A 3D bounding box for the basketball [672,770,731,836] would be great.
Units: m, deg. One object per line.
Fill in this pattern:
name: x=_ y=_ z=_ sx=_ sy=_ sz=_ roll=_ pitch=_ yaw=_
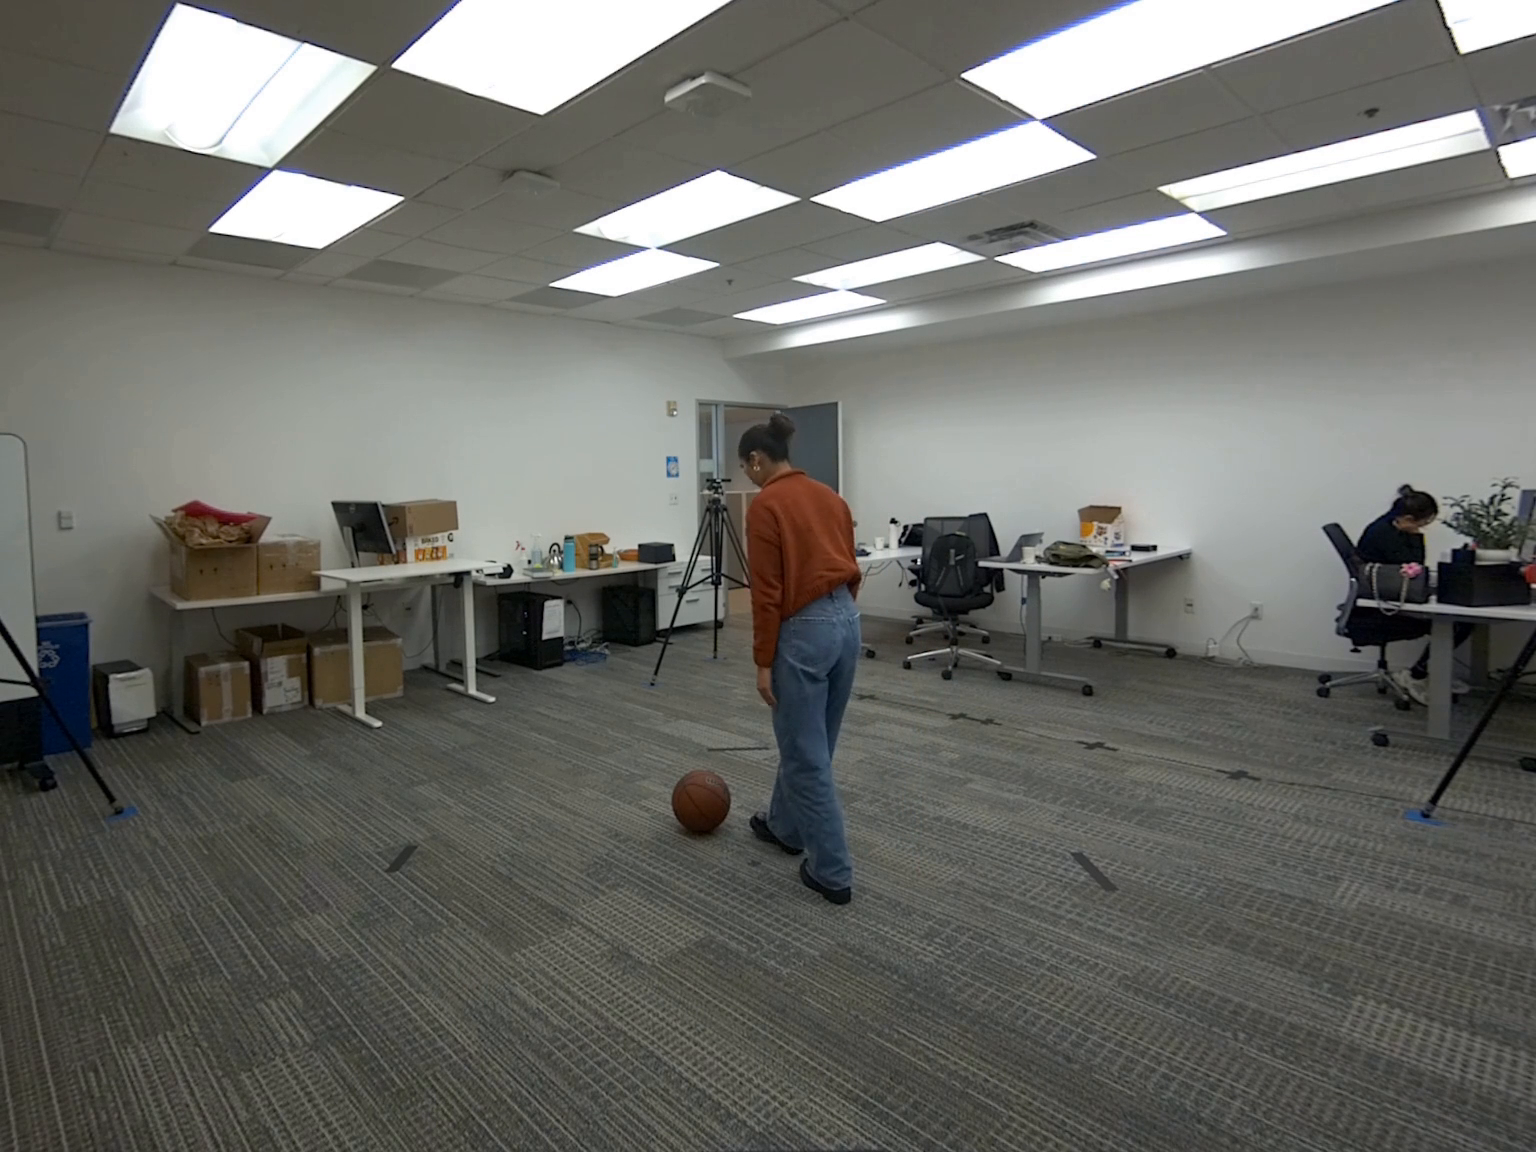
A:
basketball: x=-0.261 y=0.888 z=3.403 sx=0.236 sy=0.235 sz=0.237 roll=-1 pitch=5 yaw=-2
